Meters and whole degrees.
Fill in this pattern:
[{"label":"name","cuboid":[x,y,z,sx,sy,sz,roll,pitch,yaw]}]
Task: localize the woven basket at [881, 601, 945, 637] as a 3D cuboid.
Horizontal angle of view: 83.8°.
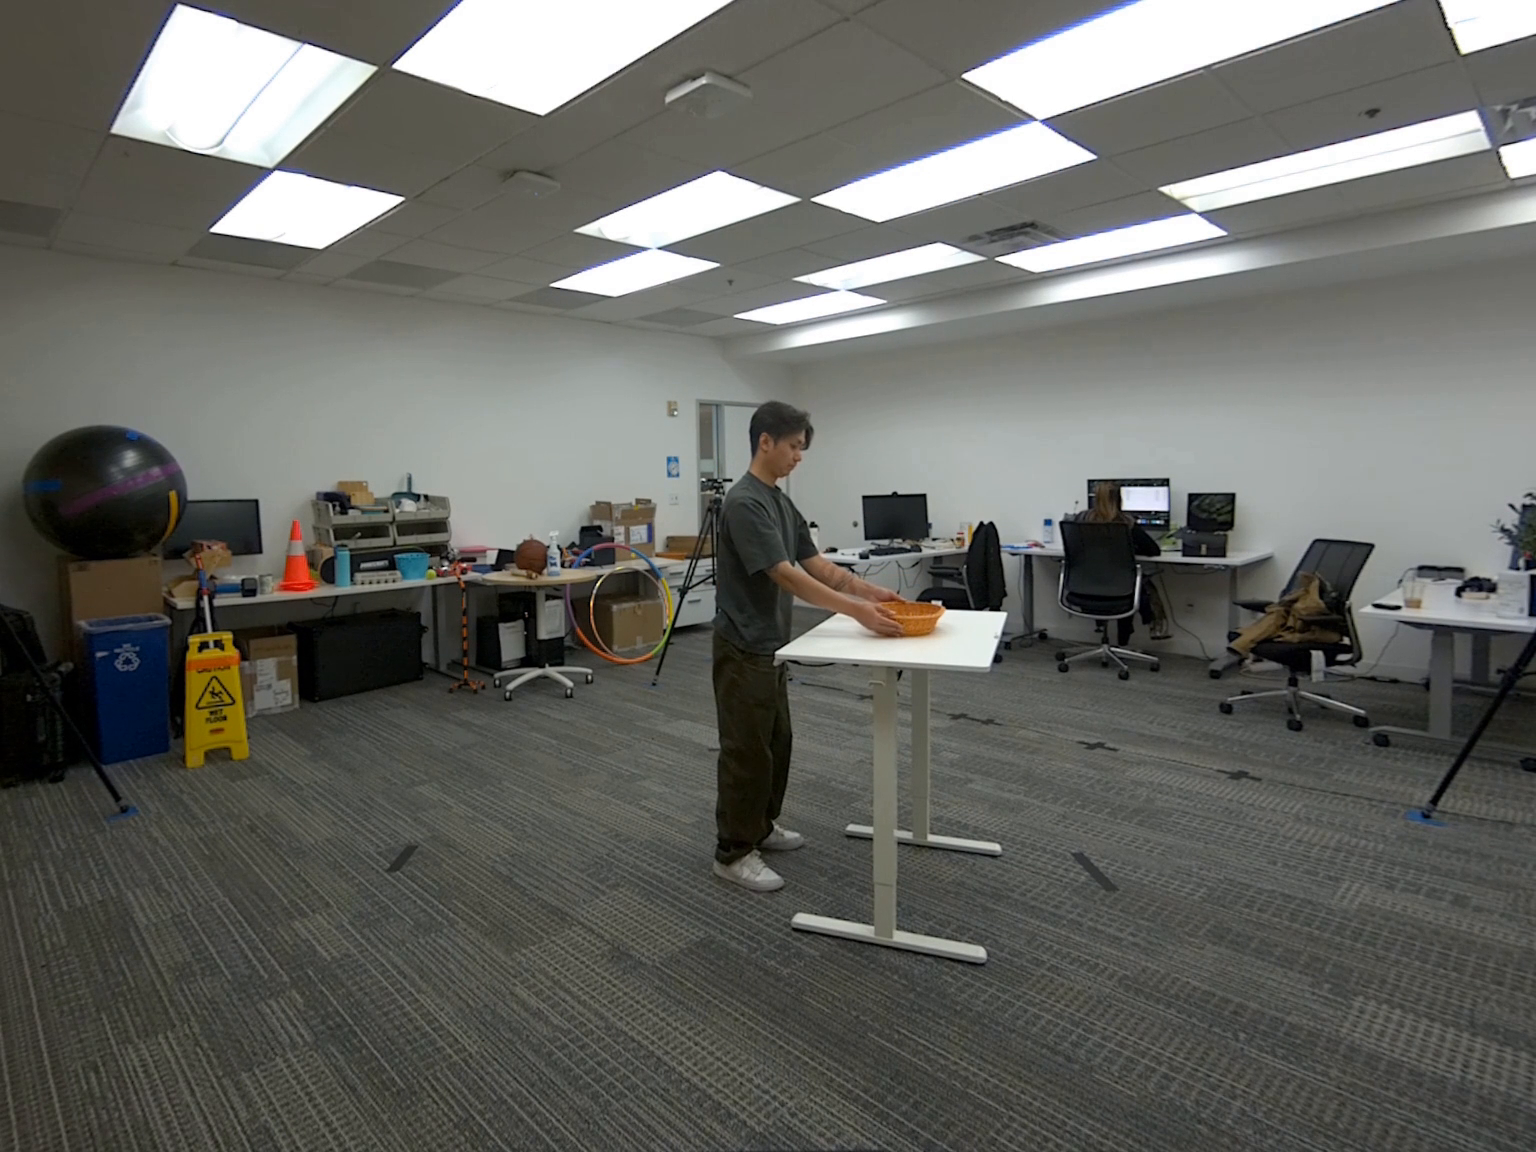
[{"label":"woven basket","cuboid":[0.464,0.149,2.872,0.258,0.073,0.344,2,7,23]}]
